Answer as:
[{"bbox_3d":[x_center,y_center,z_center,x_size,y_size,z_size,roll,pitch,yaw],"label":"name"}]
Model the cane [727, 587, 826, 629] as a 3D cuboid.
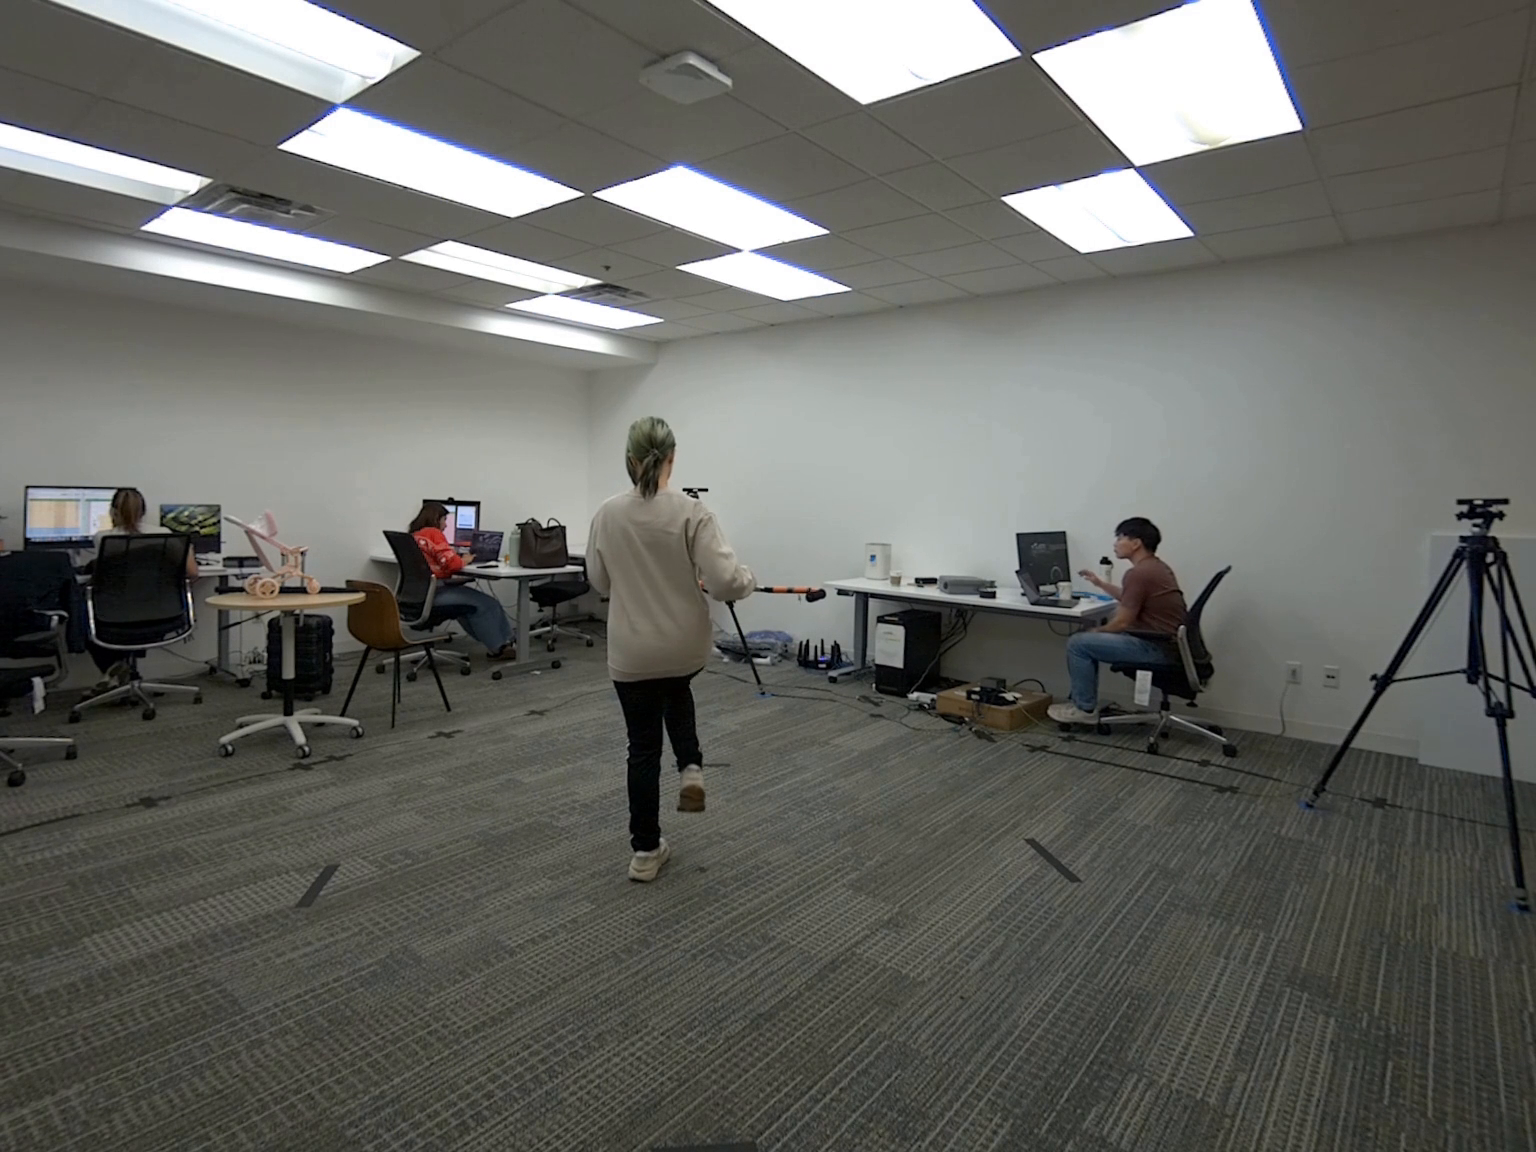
[{"bbox_3d":[-0.210,0.047,3.244,0.934,0.151,0.201,4,4,28],"label":"cane"}]
